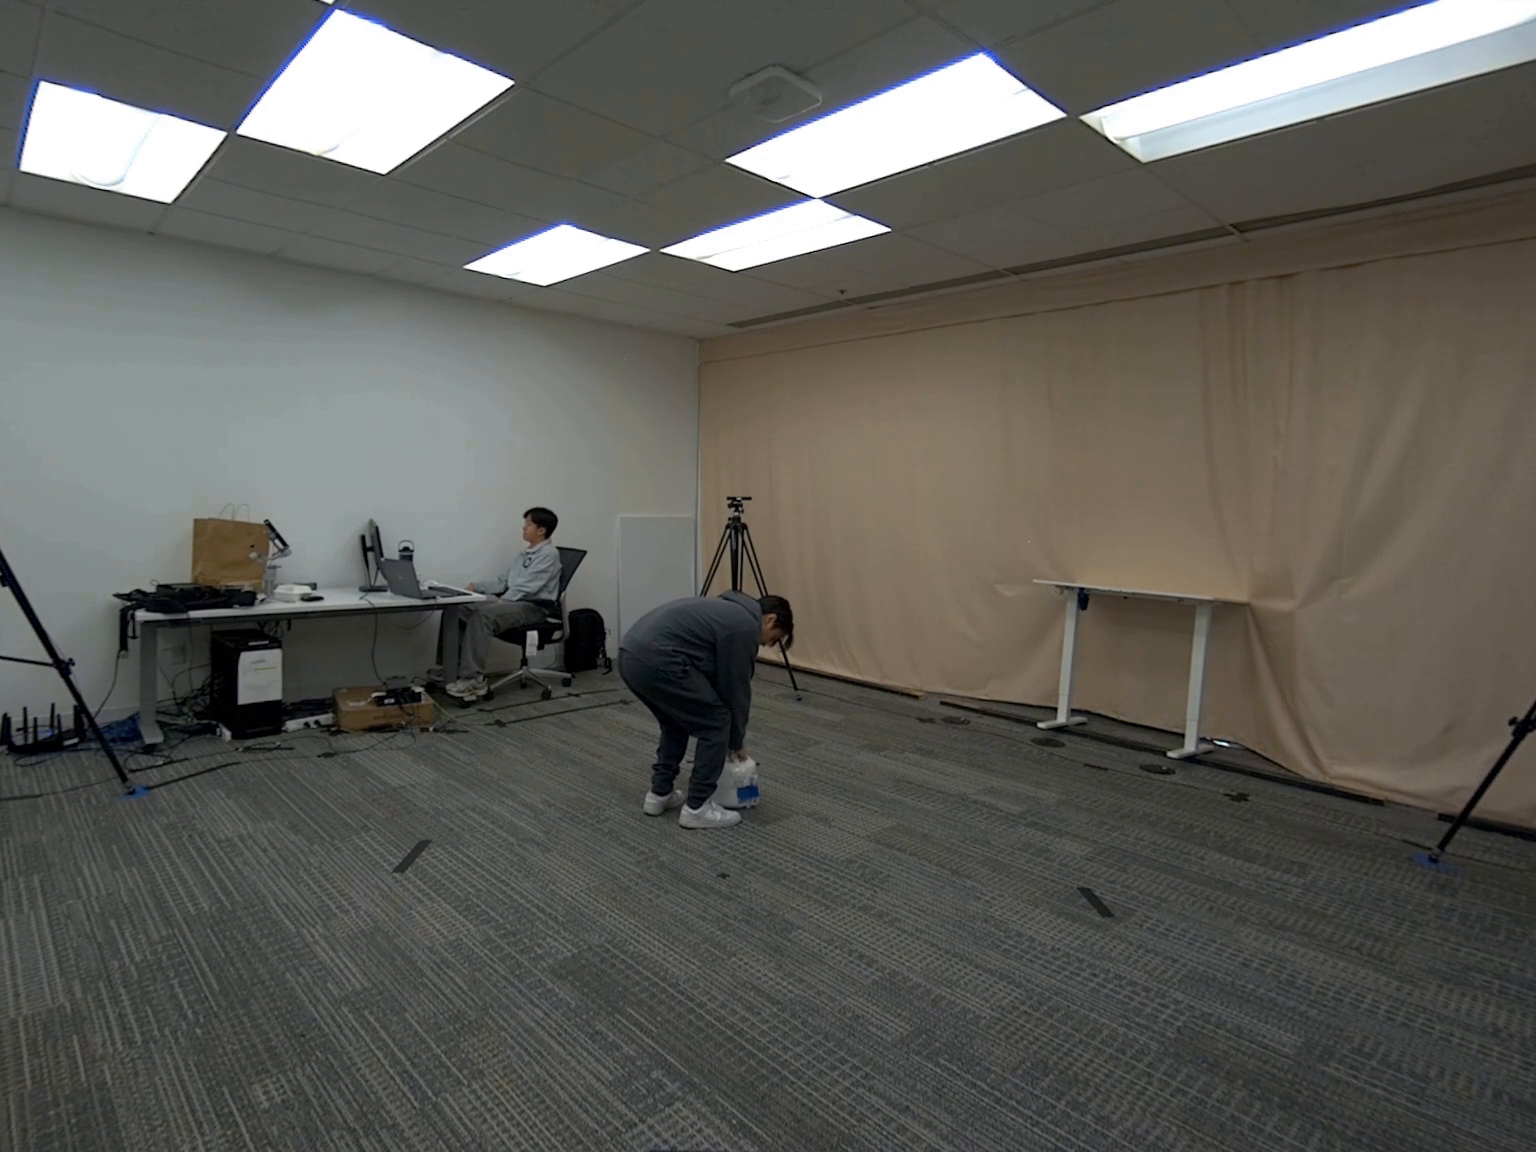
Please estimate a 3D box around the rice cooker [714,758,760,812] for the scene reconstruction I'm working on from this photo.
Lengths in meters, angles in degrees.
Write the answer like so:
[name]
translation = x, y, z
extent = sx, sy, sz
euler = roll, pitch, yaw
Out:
[rice cooker]
translation = -0.179, 0.918, 3.846
extent = 0.215, 0.232, 0.224
euler = 1, 5, -16
